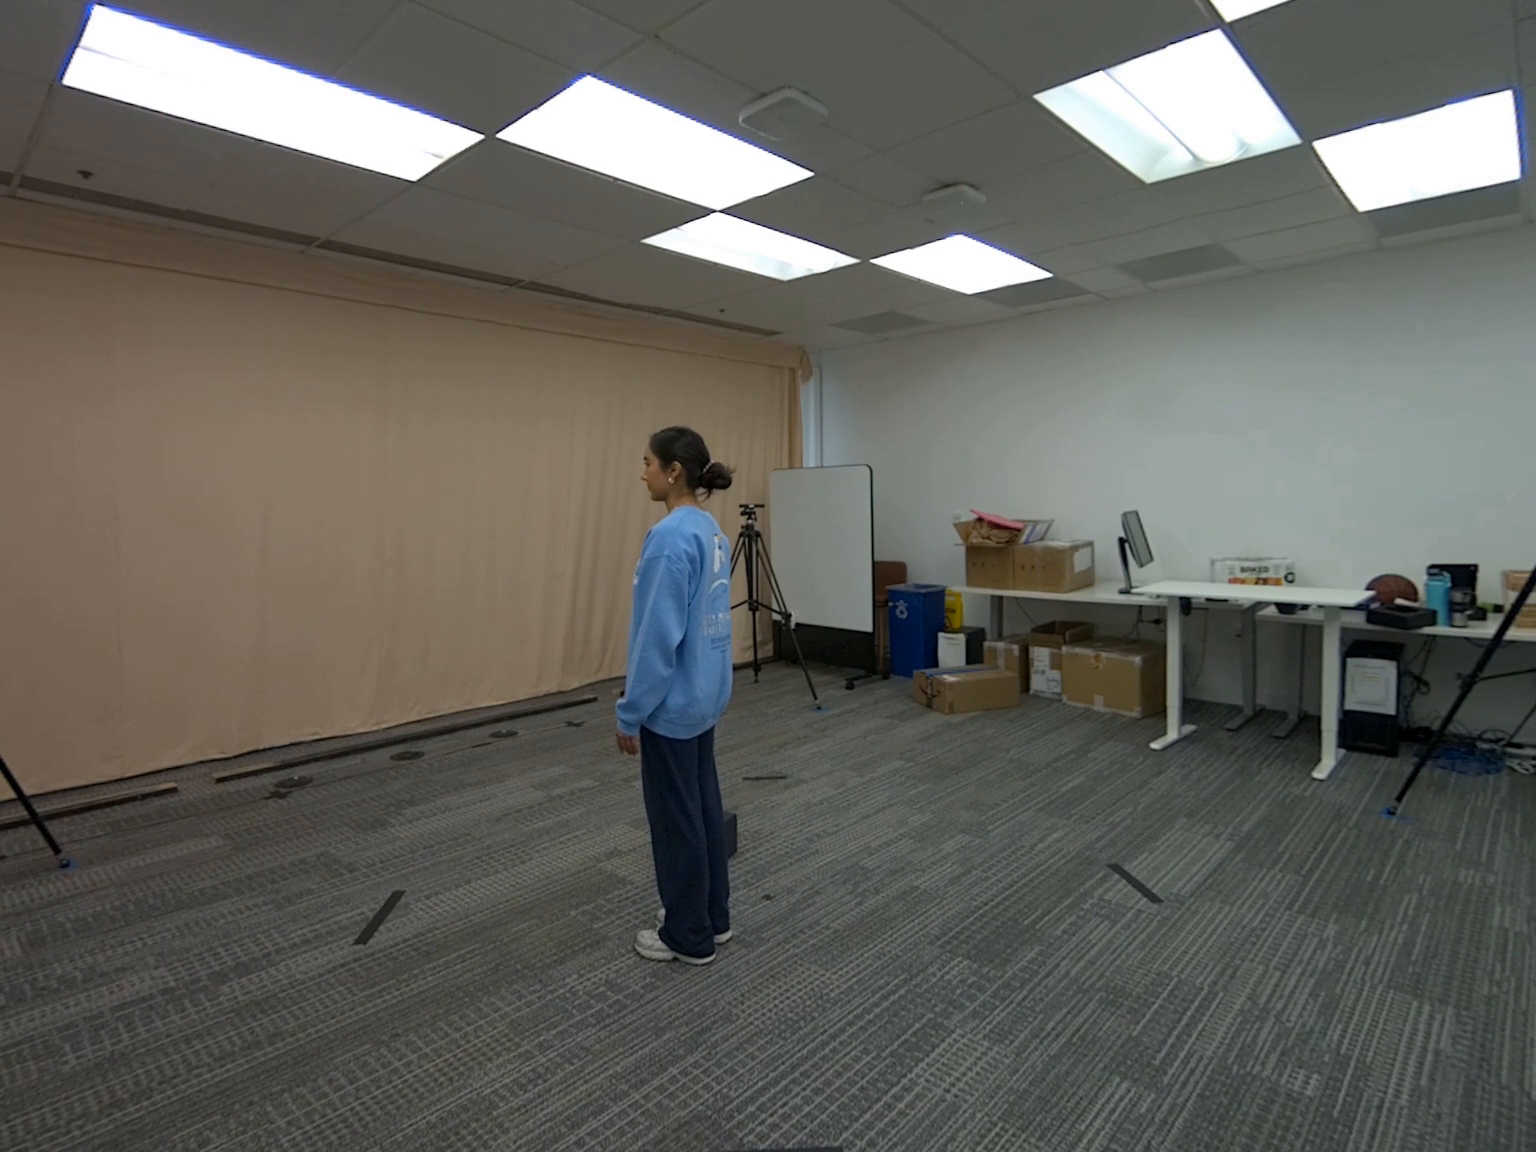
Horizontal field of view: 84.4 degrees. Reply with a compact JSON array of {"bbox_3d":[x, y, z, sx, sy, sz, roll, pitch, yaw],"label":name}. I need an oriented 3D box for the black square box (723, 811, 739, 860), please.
[{"bbox_3d":[-0.267,1.031,3.325,0.223,0.155,0.222,0,4,27],"label":"black square box"}]
